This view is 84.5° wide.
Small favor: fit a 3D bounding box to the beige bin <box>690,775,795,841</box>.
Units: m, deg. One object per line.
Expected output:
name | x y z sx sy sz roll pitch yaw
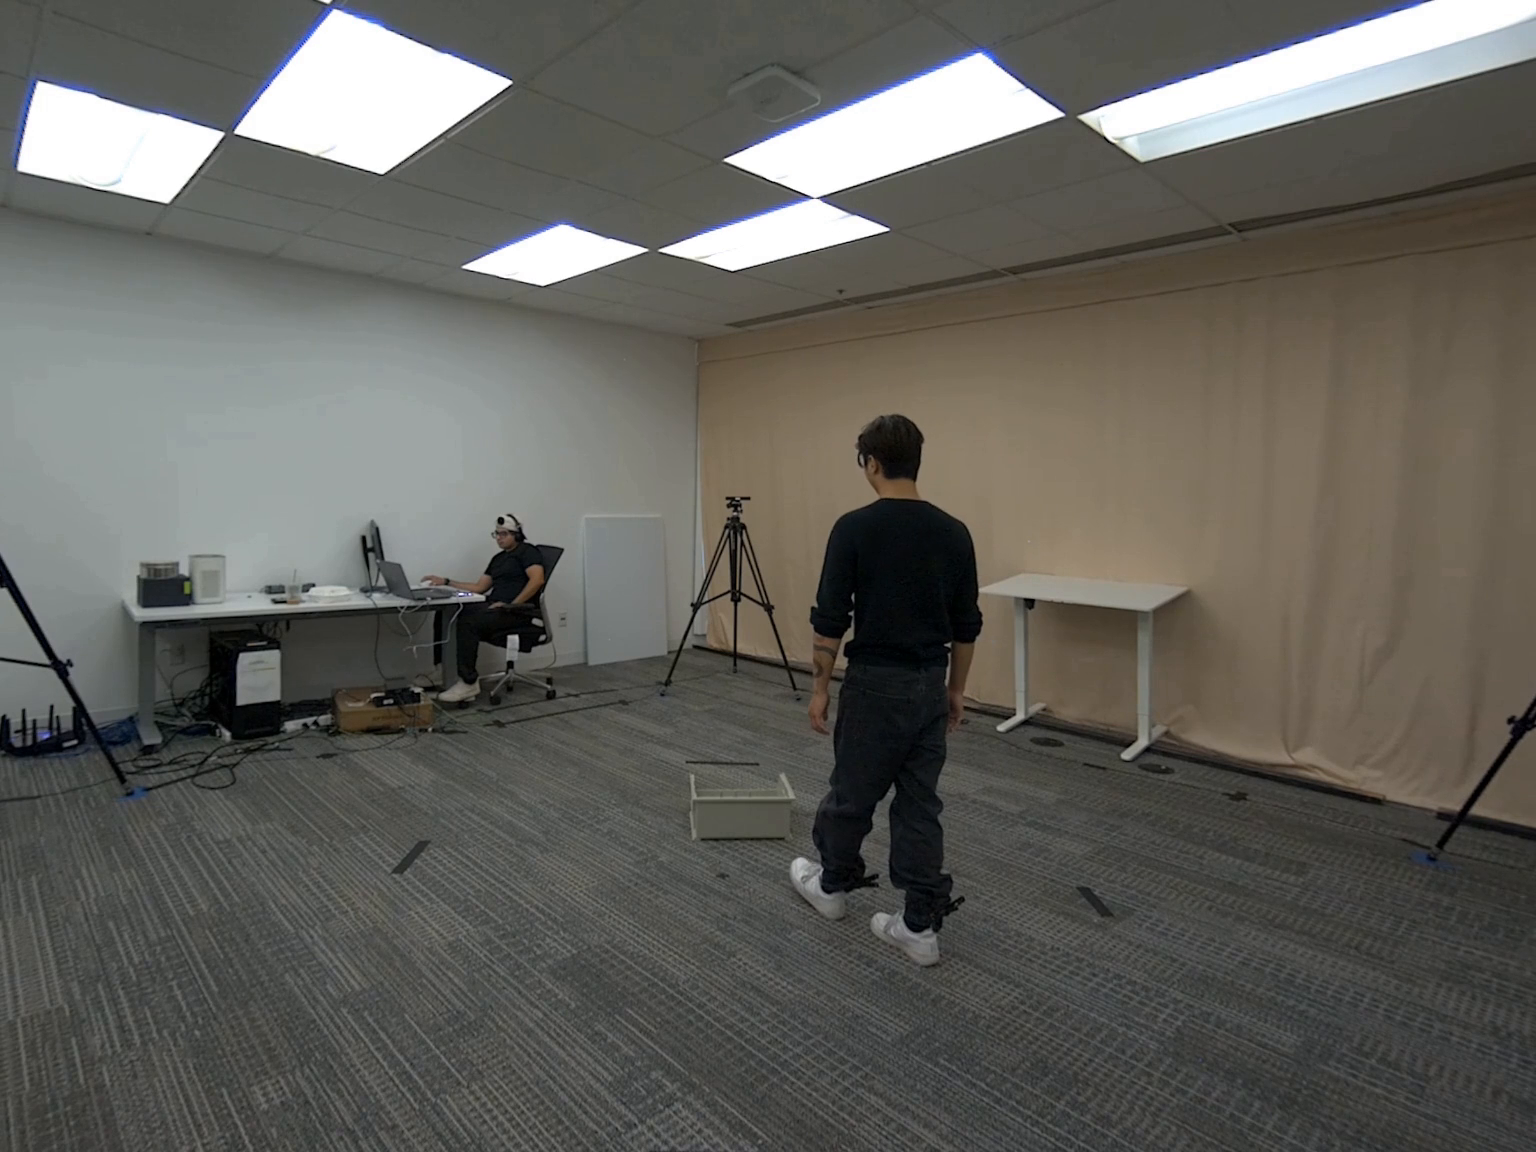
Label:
beige bin | -0.131 0.980 3.618 0.420 0.188 0.380 1 5 -6
